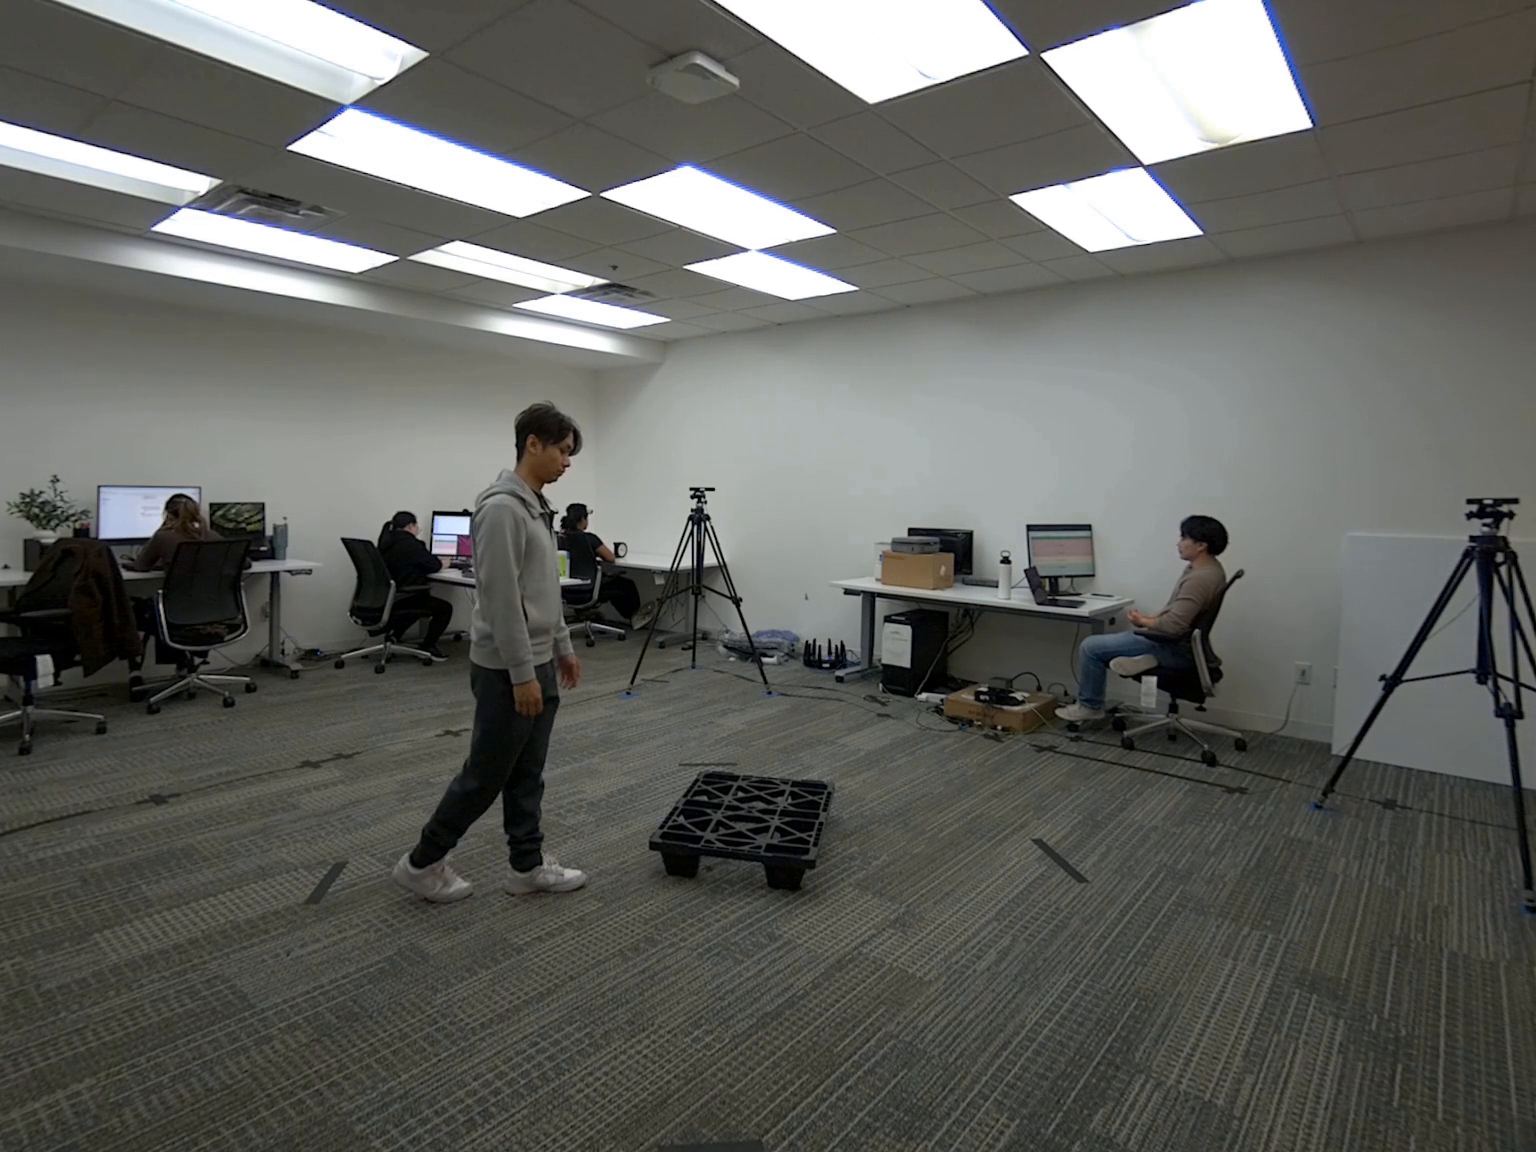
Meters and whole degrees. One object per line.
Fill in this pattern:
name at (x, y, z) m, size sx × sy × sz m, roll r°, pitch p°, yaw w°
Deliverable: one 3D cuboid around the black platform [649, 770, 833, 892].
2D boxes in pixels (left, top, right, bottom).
black platform at (-0.083, 0.977, 3.347) m, size 0.613 × 0.143 × 0.798 m, roll 2°, pitch 5°, yaw 10°
